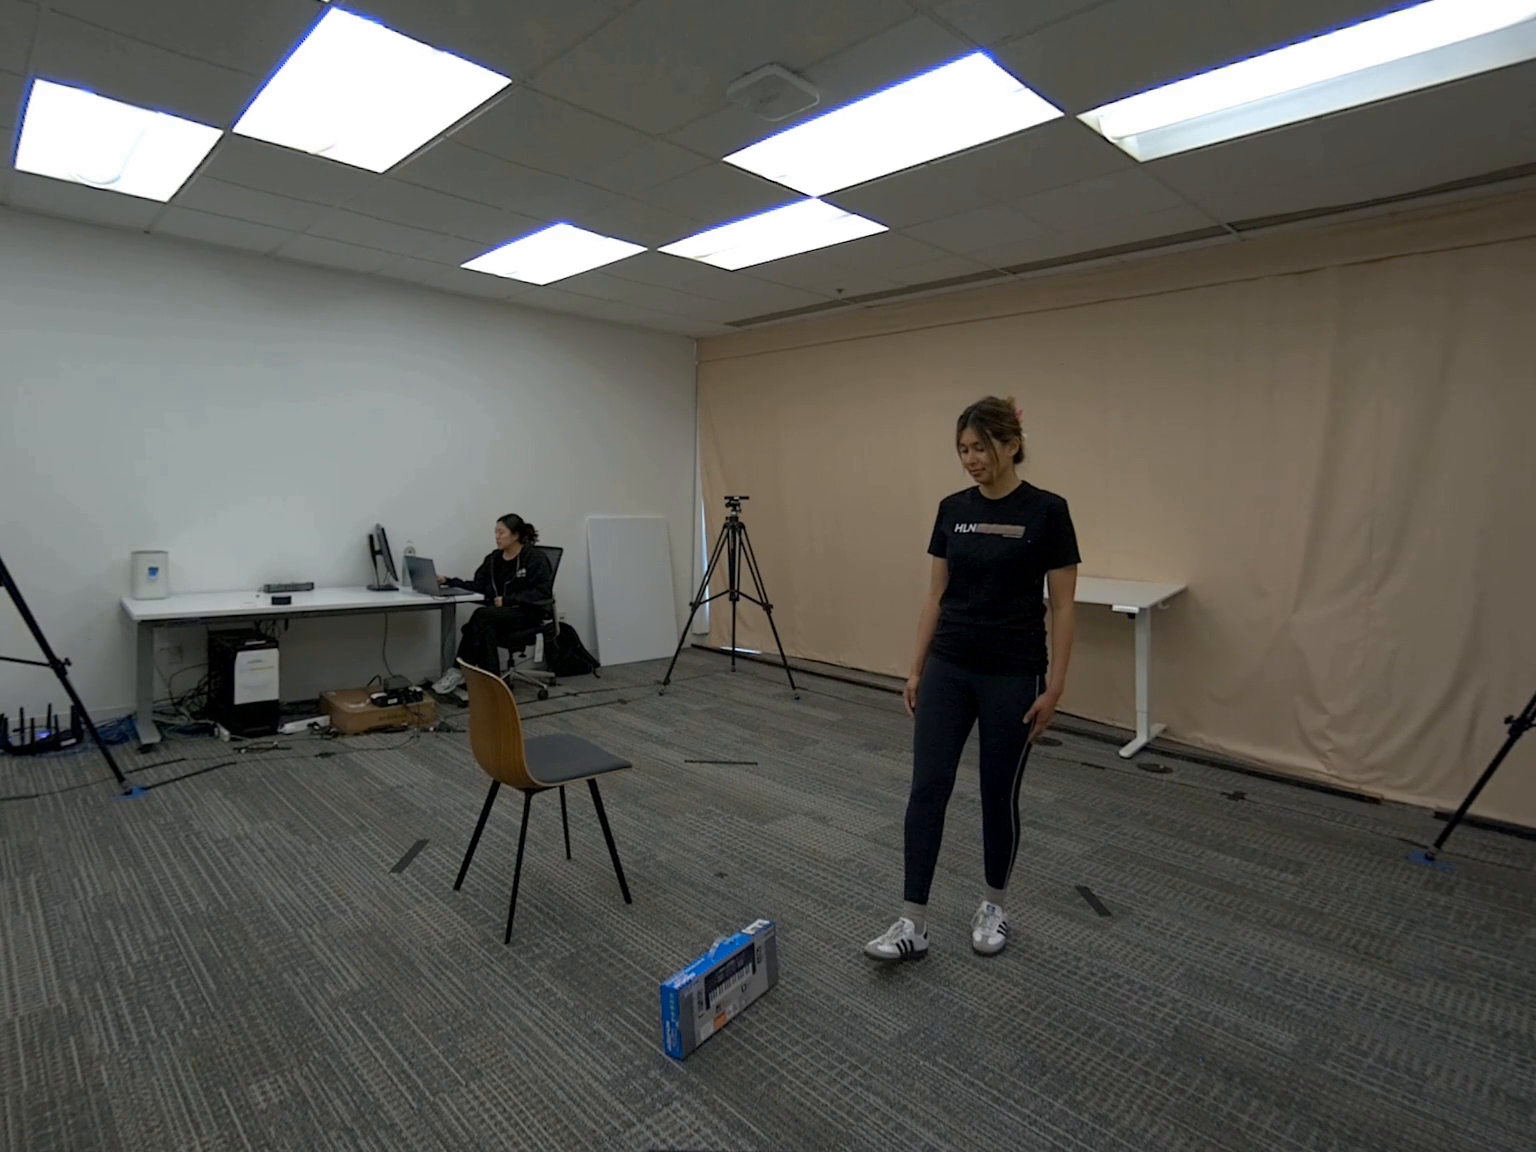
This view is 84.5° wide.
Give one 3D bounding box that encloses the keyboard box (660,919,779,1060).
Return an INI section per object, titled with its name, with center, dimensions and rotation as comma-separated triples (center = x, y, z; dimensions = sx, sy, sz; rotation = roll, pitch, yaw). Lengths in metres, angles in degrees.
[keyboard box]
center = -0.123, 1.098, 2.257
dimensions = 0.060, 0.176, 0.428
rotation = -4, 1, 35
